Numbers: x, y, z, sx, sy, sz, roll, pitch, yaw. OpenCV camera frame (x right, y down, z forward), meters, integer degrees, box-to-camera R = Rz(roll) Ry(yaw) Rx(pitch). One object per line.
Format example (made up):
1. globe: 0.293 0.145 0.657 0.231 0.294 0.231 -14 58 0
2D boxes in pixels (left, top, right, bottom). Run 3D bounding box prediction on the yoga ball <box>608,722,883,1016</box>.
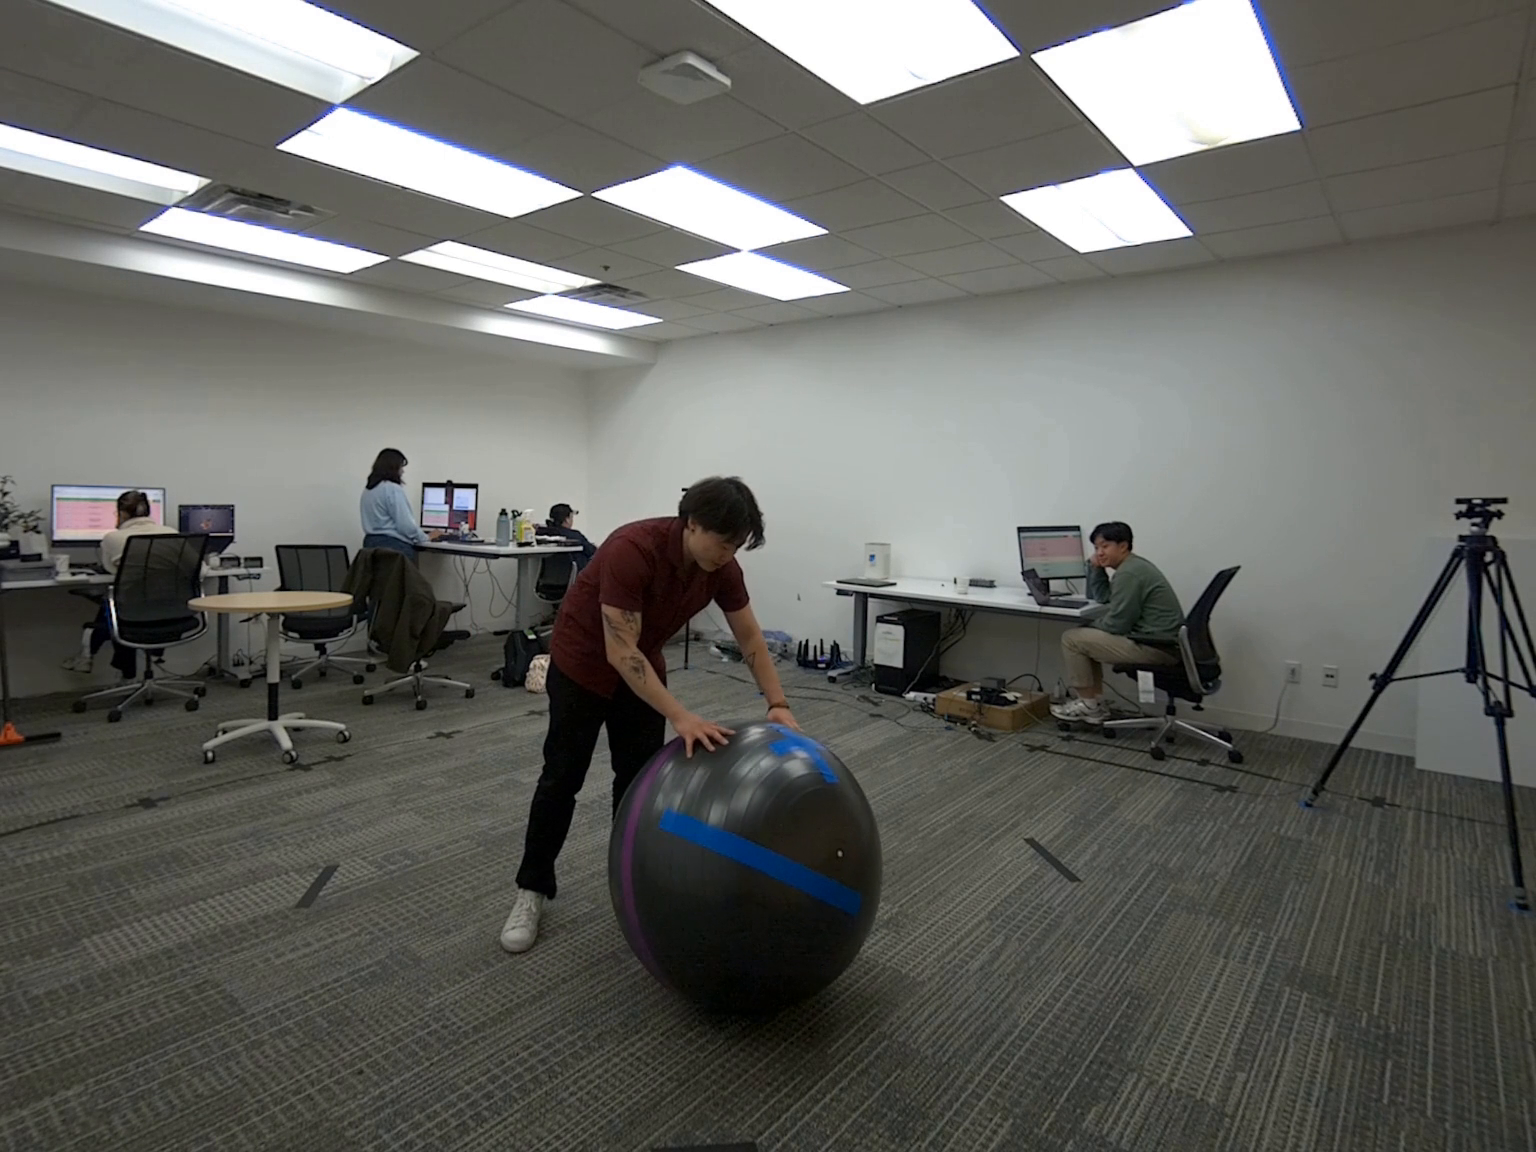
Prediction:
1. yoga ball: -0.065 0.786 2.356 0.757 0.755 0.762 1 4 -2
